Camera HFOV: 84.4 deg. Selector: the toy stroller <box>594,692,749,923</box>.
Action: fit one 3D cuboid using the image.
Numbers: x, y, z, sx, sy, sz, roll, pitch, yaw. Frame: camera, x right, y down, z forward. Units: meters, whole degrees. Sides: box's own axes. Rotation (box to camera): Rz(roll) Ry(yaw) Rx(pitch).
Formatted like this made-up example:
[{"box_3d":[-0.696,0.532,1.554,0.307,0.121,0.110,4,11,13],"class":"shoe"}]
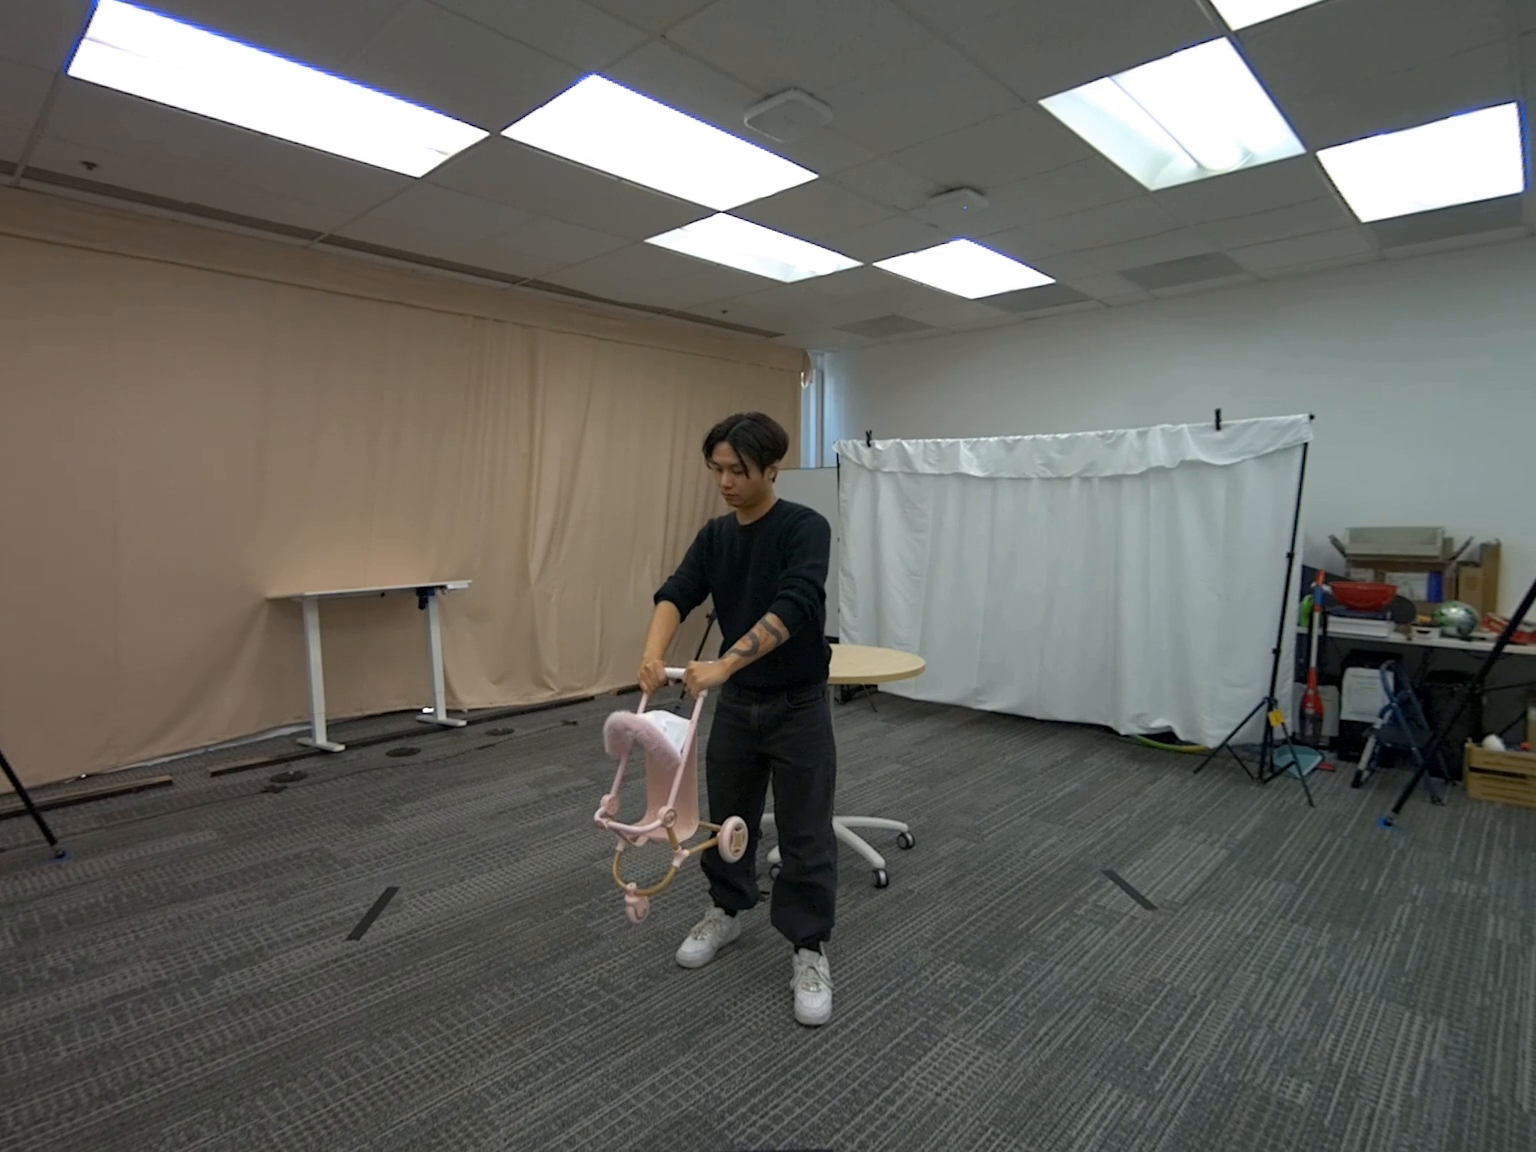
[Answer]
[{"box_3d":[-0.271,0.535,2.080,0.290,0.531,0.333,0,13,41],"class":"toy stroller"}]
